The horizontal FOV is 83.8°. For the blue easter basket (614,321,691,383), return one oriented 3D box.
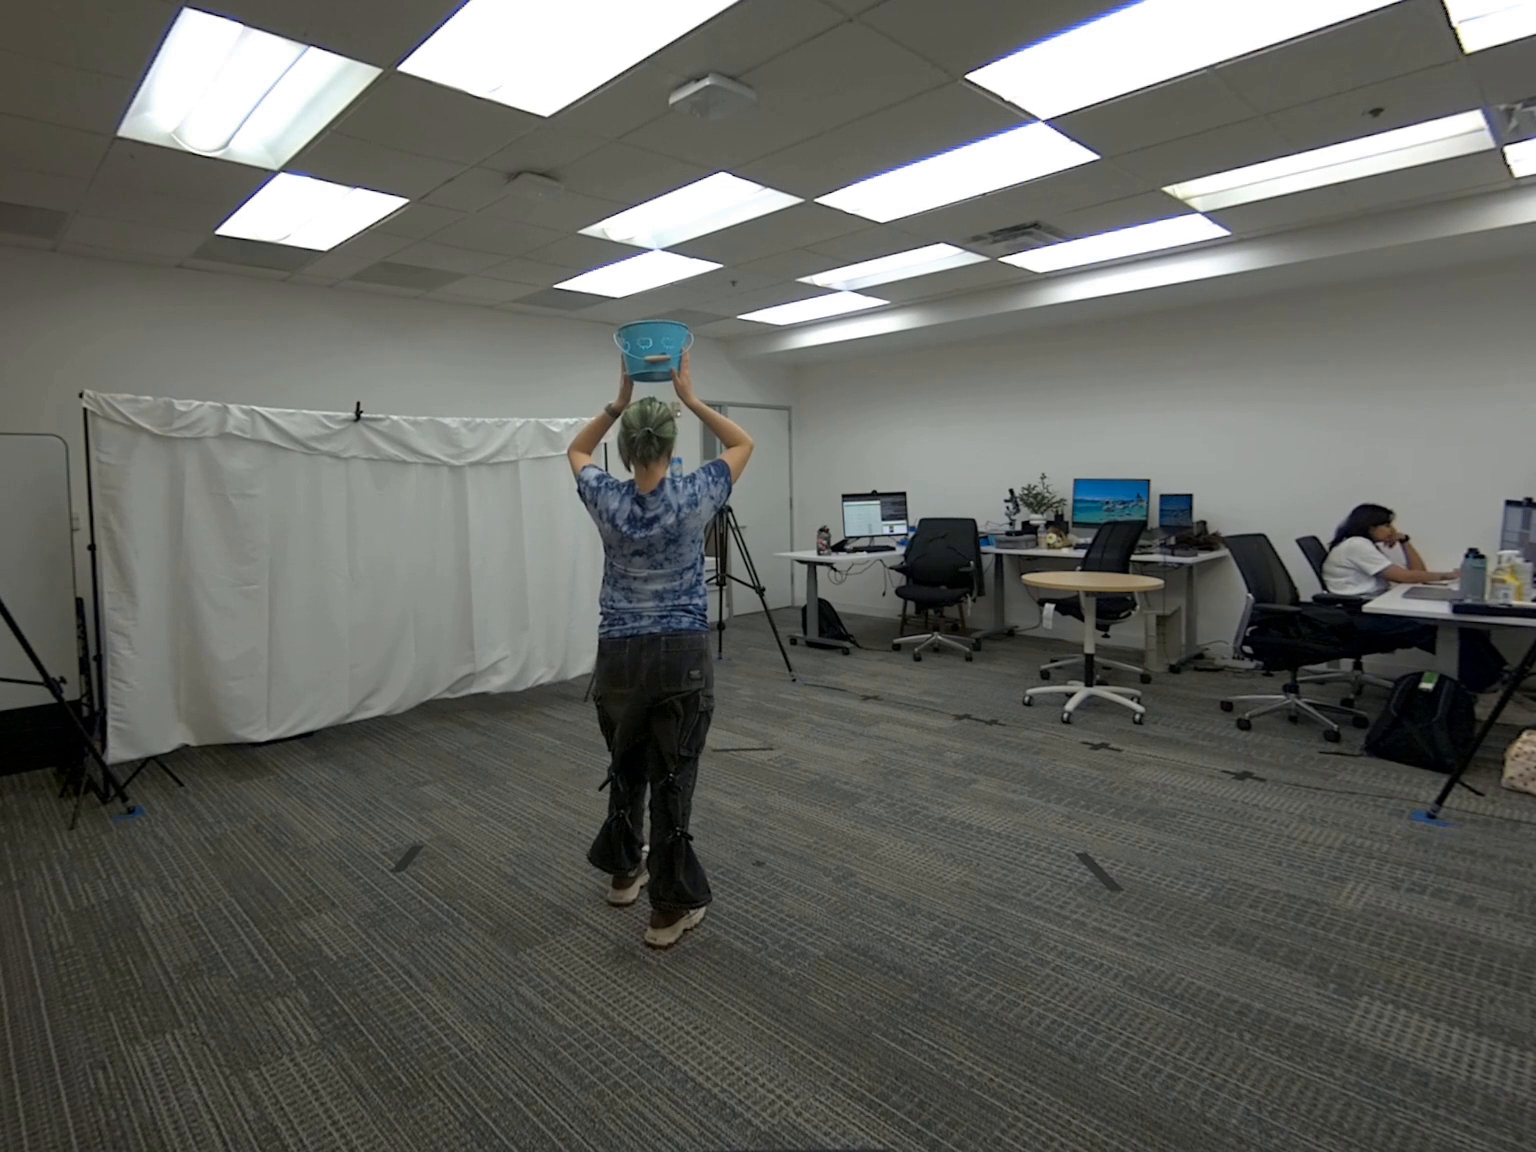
[{"bbox_3d":[-0.376,-0.716,2.727,0.243,0.156,0.244,-3,2,-2],"label":"blue easter basket"}]
